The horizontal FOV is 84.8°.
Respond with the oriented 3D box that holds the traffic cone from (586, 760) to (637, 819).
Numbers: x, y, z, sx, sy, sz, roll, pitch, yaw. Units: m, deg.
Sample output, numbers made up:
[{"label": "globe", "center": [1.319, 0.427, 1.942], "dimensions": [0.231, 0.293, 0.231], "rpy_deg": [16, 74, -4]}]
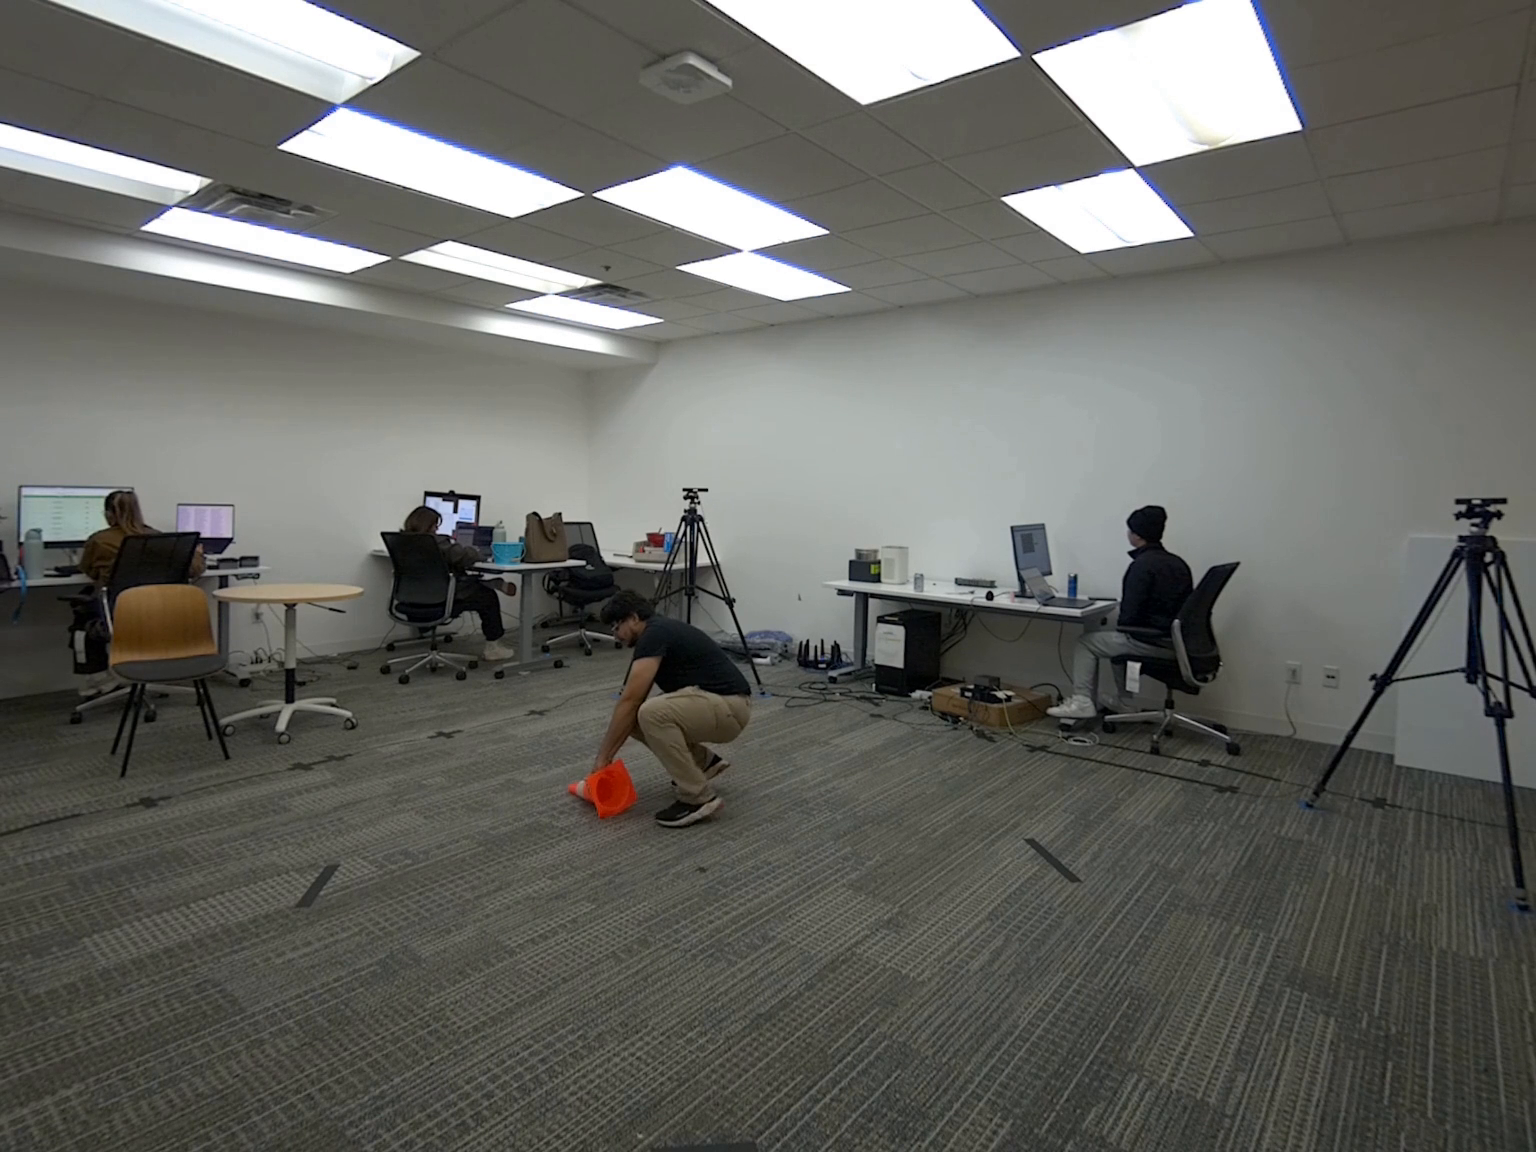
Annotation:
[{"label": "traffic cone", "center": [-0.807, 0.950, 3.770], "dimensions": [0.198, 0.206, 0.392], "rpy_deg": [-9, -4, -42]}]
